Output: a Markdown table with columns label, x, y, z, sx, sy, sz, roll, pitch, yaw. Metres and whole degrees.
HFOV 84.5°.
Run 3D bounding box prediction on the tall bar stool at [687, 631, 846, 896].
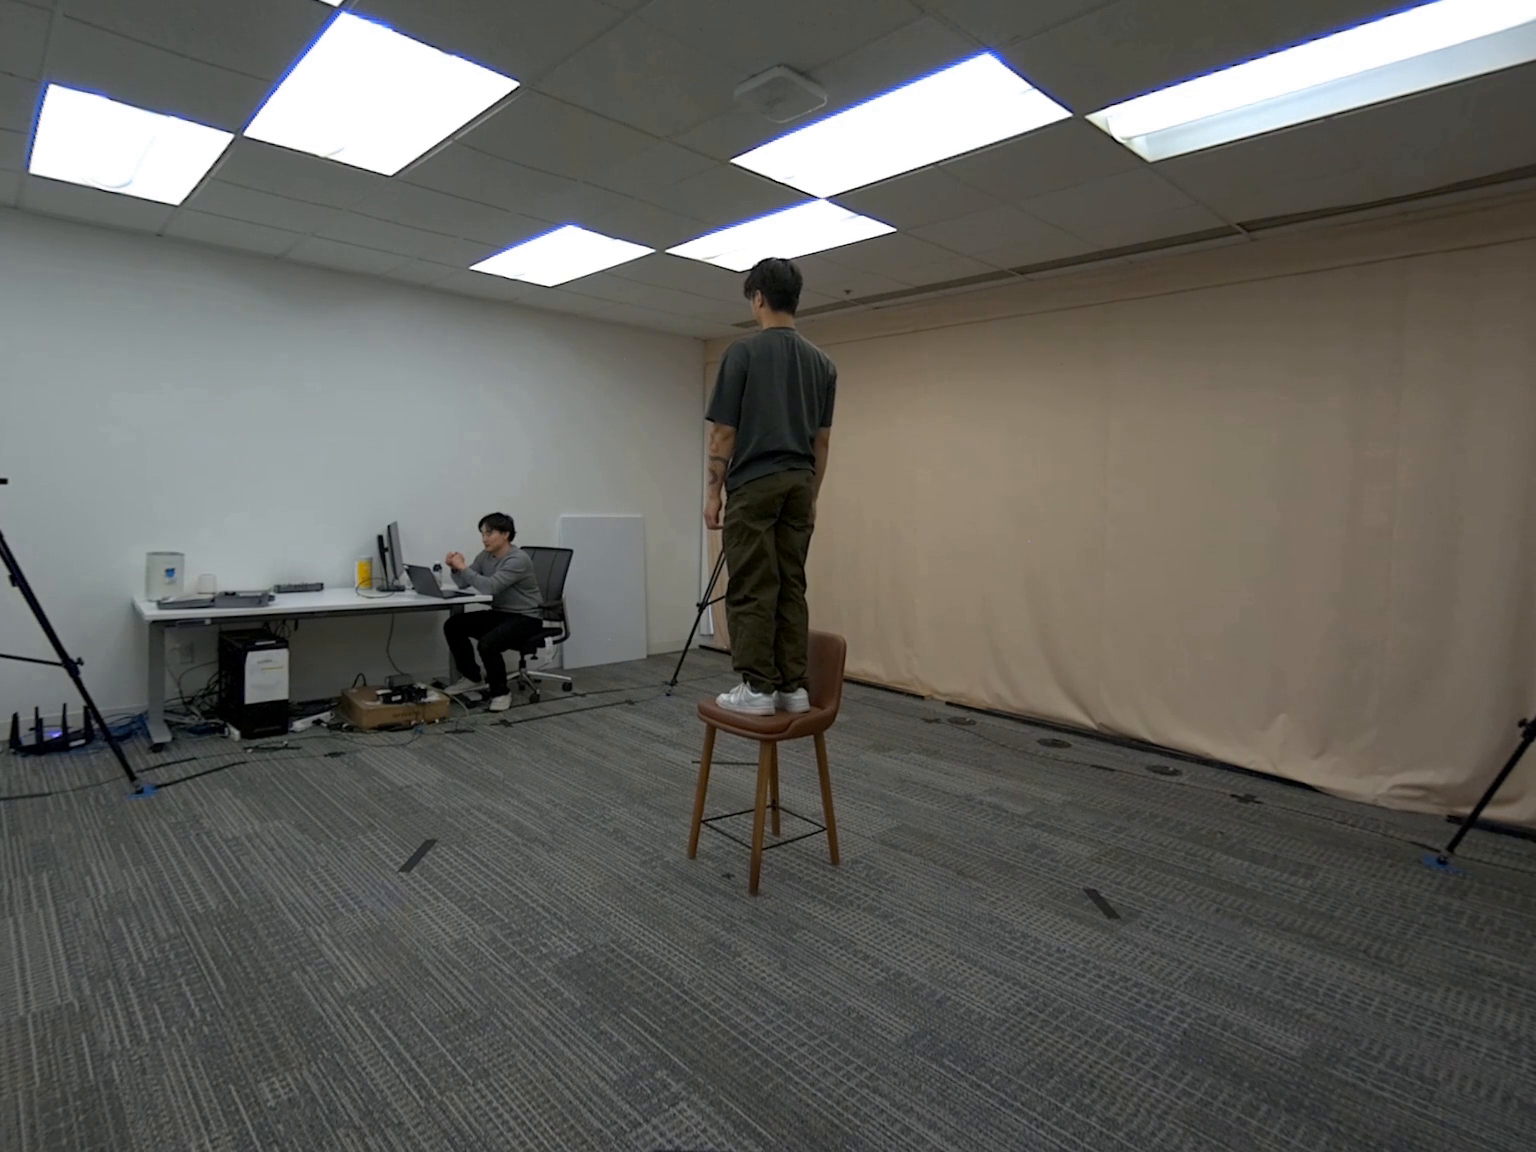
| label | x | y | z | sx | sy | sz | roll | pitch | yaw |
| --- | --- | --- | --- | --- | --- | --- | --- | --- | --- |
| tall bar stool | -0.003 | 0.663 | 3.220 | 0.456 | 0.888 | 0.468 | 1 | 3 | -39 |
